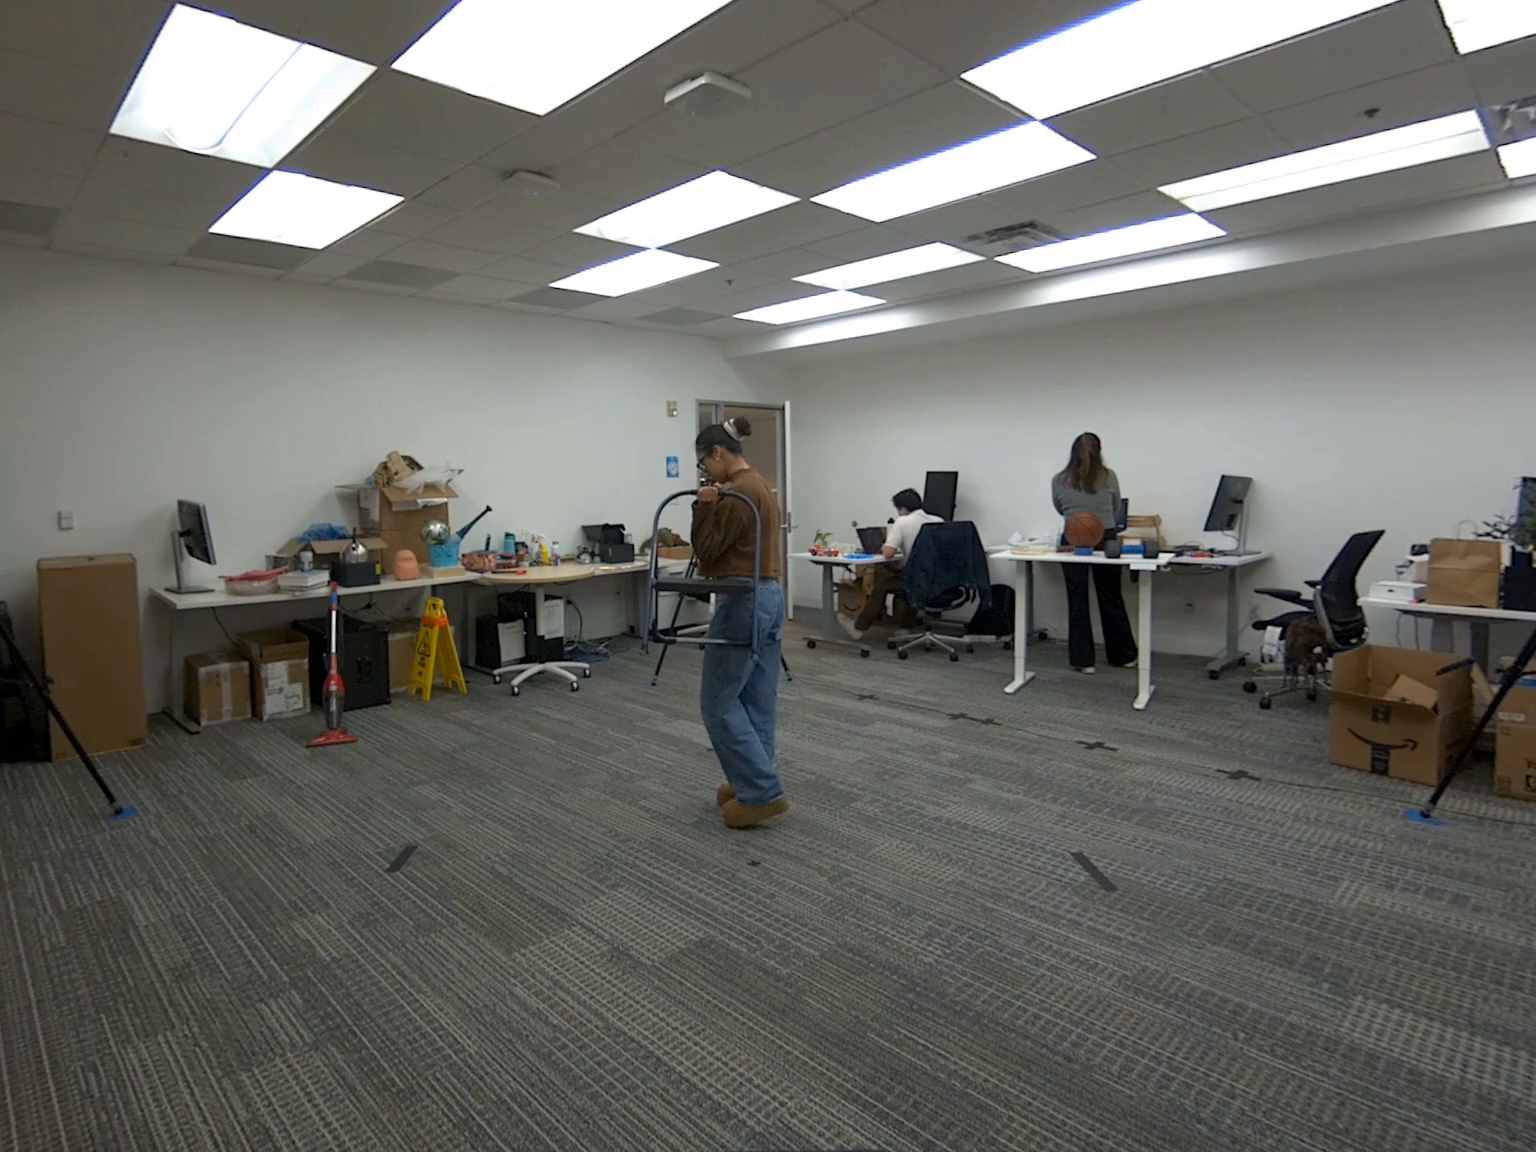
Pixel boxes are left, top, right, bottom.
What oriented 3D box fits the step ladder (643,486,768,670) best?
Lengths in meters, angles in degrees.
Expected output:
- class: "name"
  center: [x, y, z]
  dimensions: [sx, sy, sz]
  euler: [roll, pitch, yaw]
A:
- class: "step ladder"
  center: [-0.237, -0.017, 3.194]
  dimensions: [0.431, 0.607, 0.349]
  euler: [2, -1, 0]
